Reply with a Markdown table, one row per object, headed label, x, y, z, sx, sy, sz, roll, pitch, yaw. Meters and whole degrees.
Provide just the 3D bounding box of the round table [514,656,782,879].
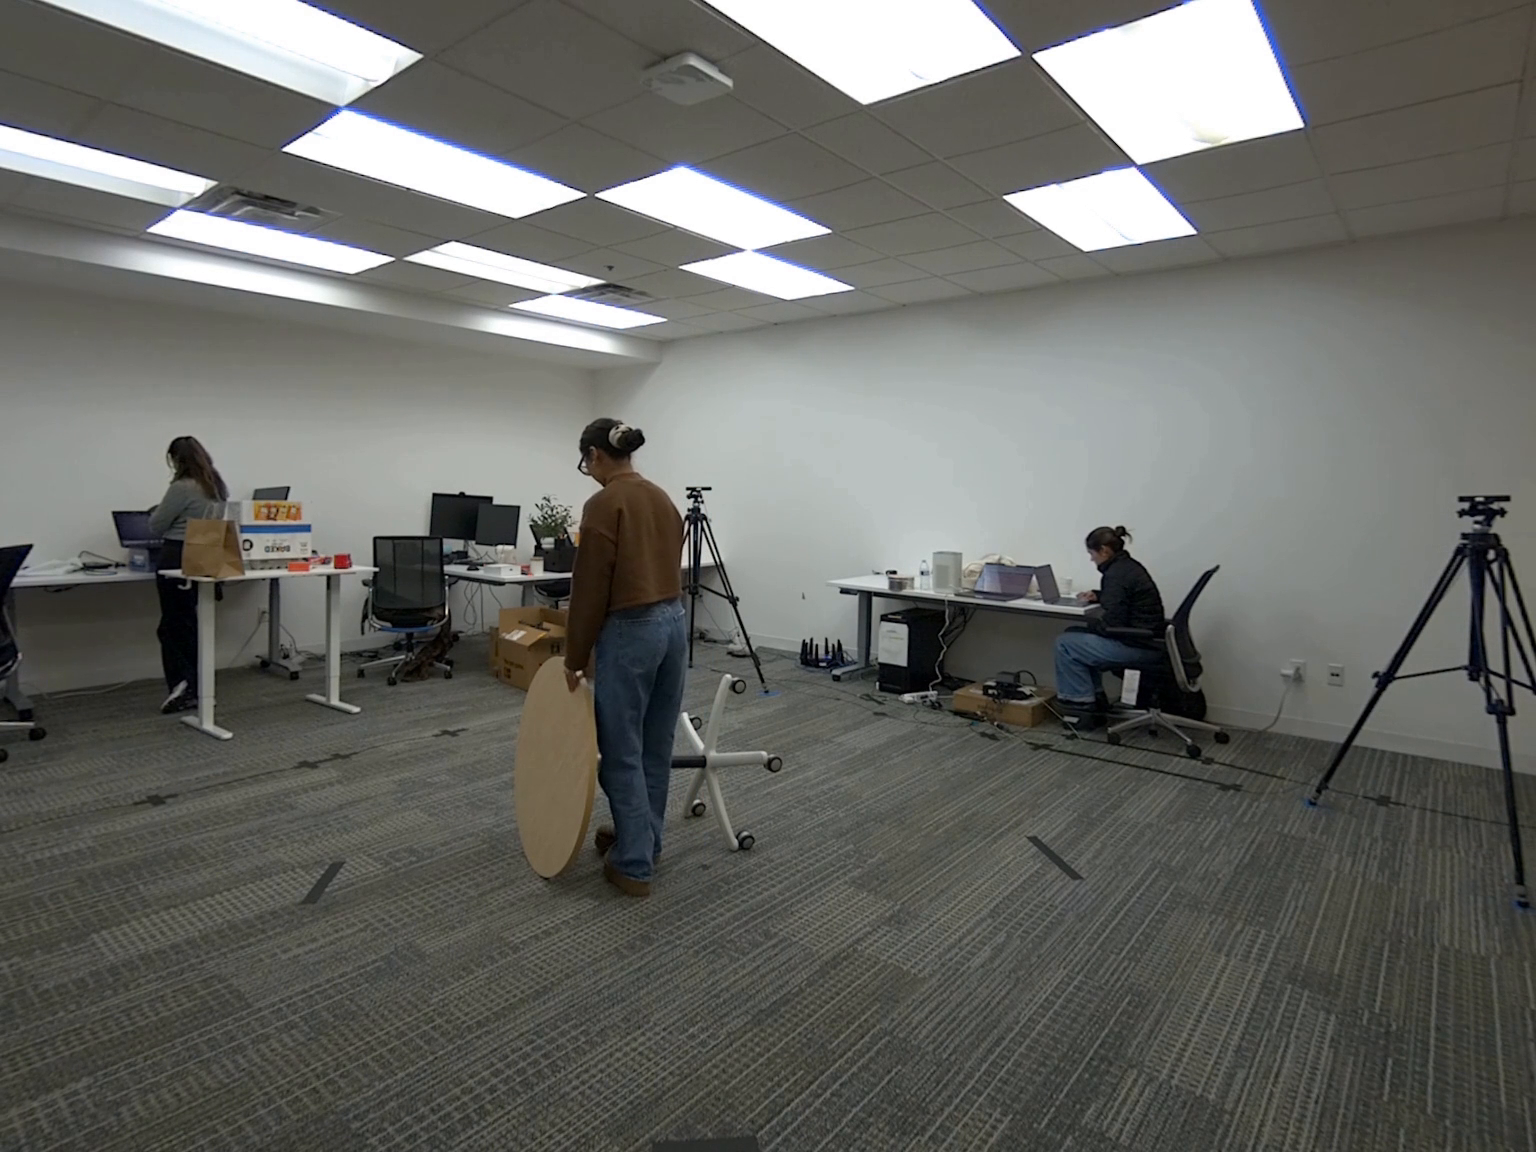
| label | x | y | z | sx | sy | sz | roll | pitch | yaw |
| --- | --- | --- | --- | --- | --- | --- | --- | --- | --- |
| round table | -0.482 | 0.713 | 3.279 | 0.770 | 0.764 | 0.788 | 7 | 0 | -32 |
